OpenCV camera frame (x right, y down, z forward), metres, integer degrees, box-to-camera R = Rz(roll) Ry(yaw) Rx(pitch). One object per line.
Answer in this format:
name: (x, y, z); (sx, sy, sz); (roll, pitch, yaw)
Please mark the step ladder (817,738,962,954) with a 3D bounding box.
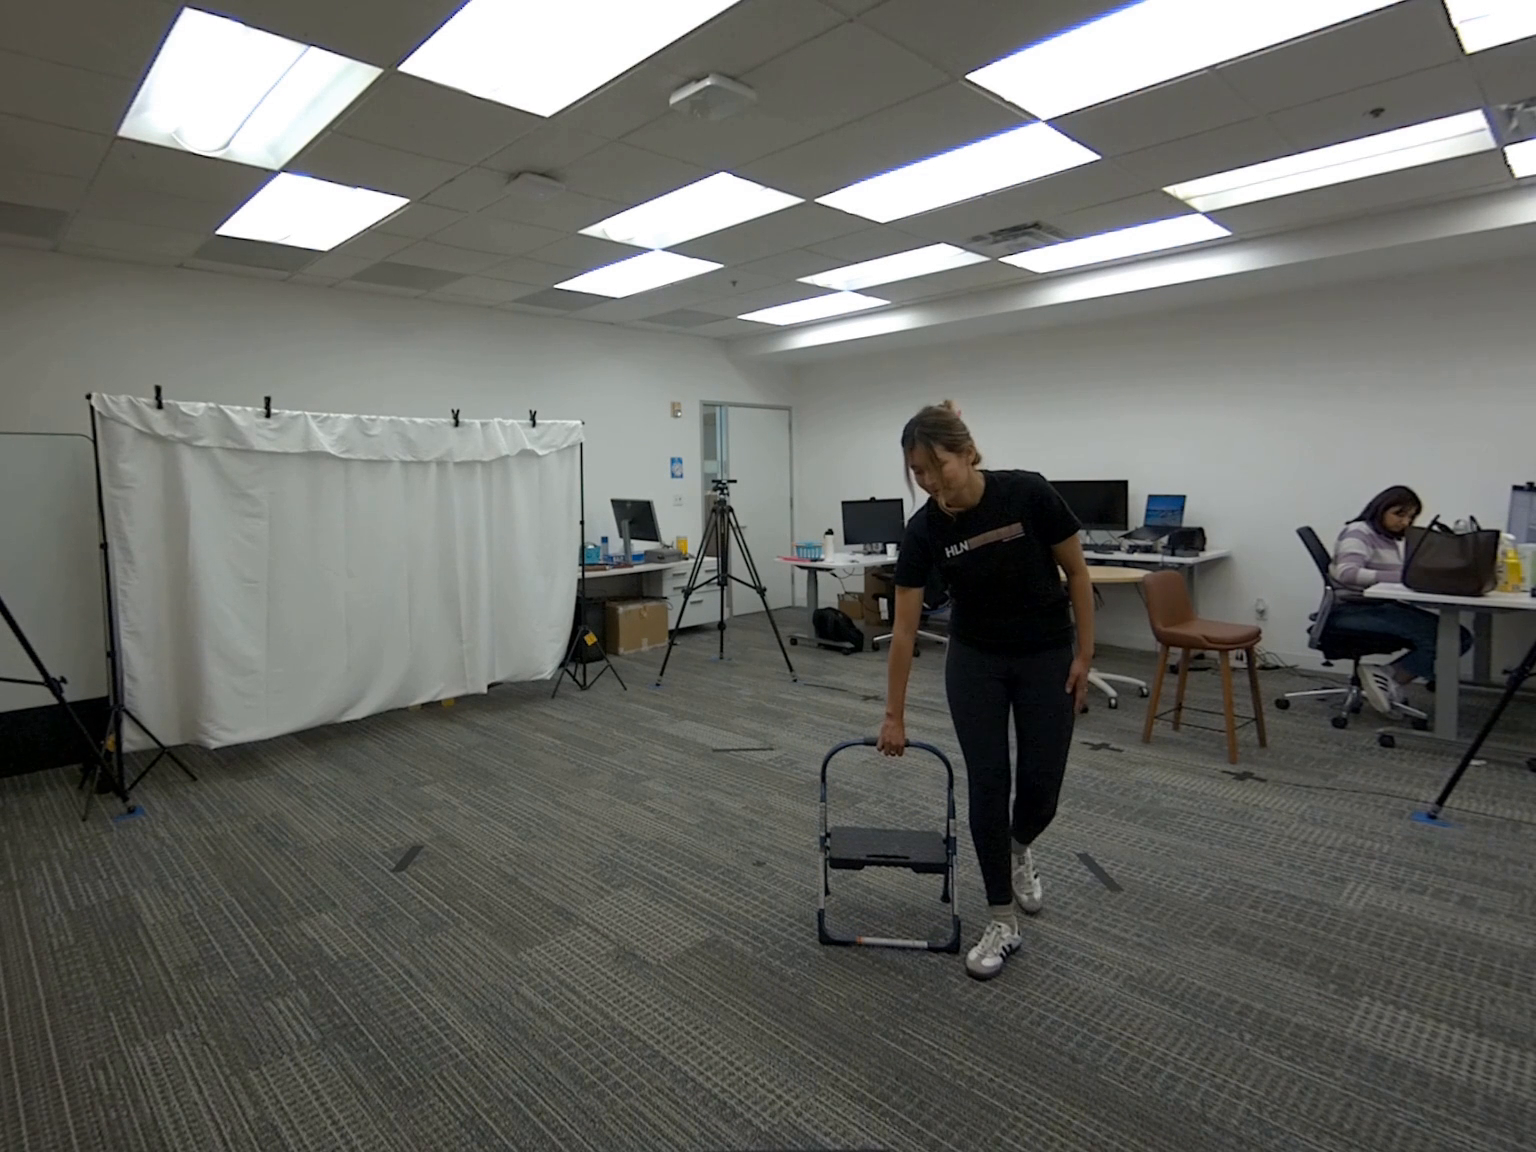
step ladder: (0.374, 0.795, 2.675); (0.434, 0.604, 0.348); (0, 3, 7)
